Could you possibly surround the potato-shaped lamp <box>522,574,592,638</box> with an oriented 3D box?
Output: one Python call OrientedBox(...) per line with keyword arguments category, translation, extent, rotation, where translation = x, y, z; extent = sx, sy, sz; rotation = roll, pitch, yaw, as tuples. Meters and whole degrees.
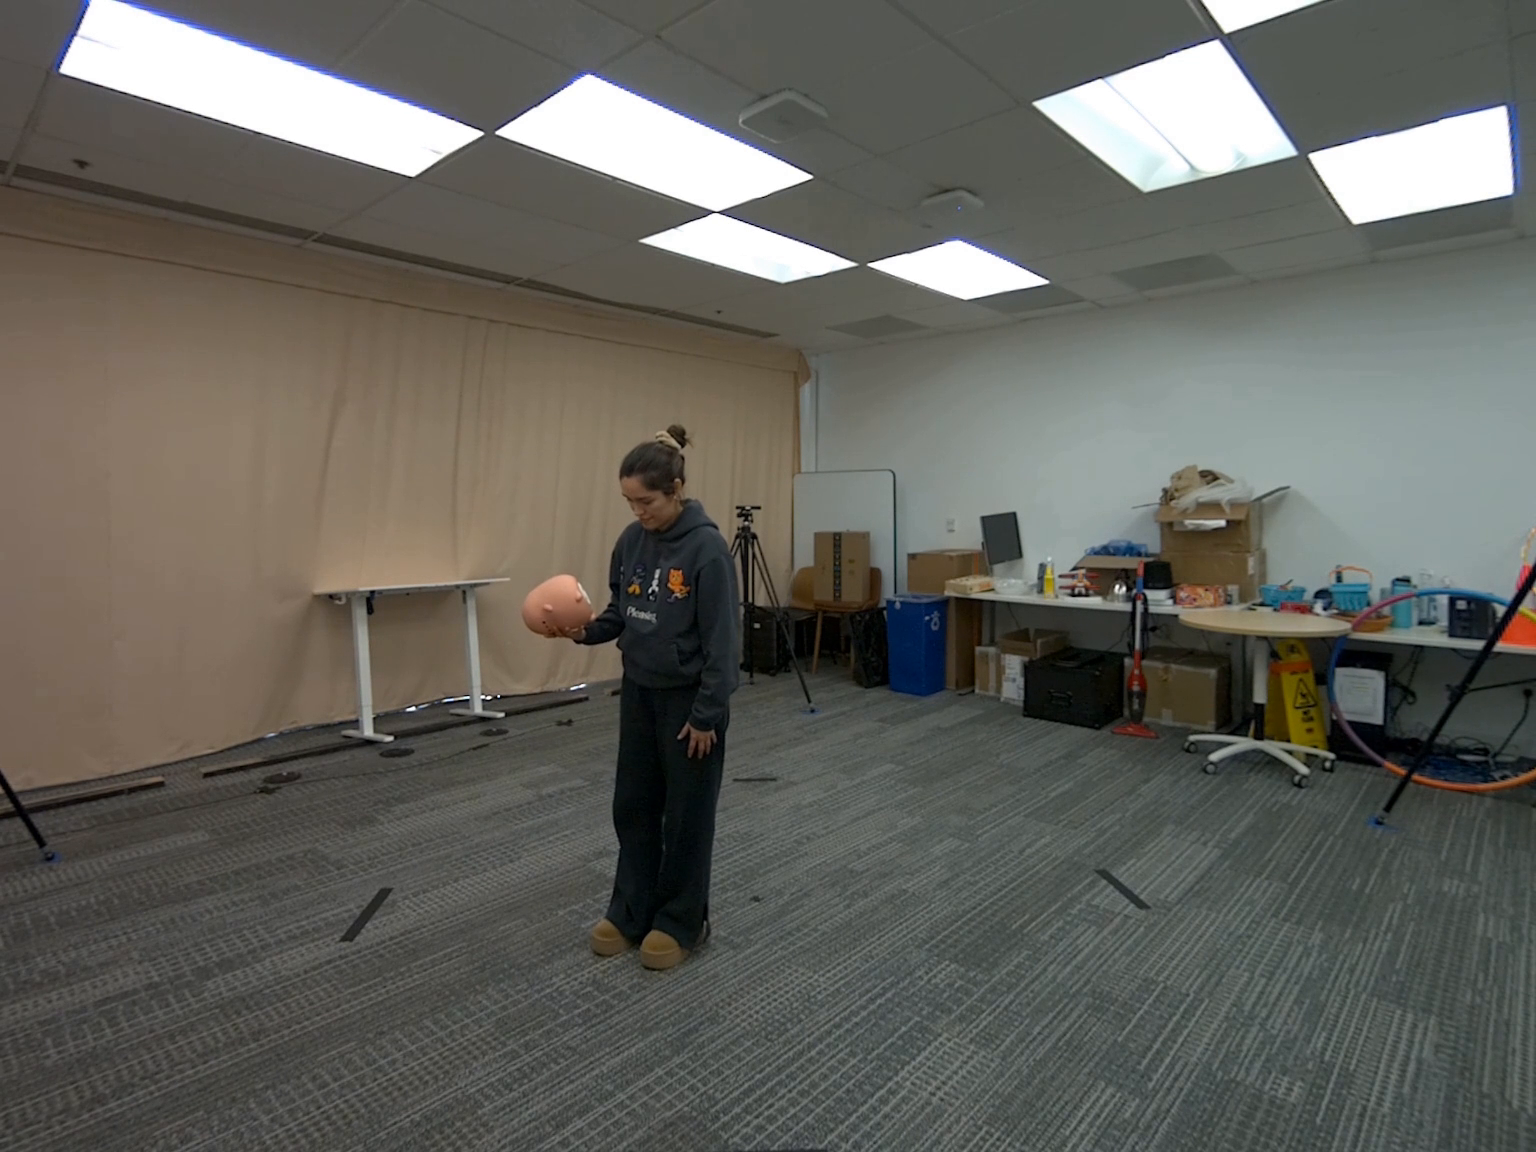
OrientedBox(category="potato-shaped lamp", translation=(-0.627, 0.101, 2.500), extent=(0.197, 0.160, 0.177), rotation=(-28, 51, -6))
